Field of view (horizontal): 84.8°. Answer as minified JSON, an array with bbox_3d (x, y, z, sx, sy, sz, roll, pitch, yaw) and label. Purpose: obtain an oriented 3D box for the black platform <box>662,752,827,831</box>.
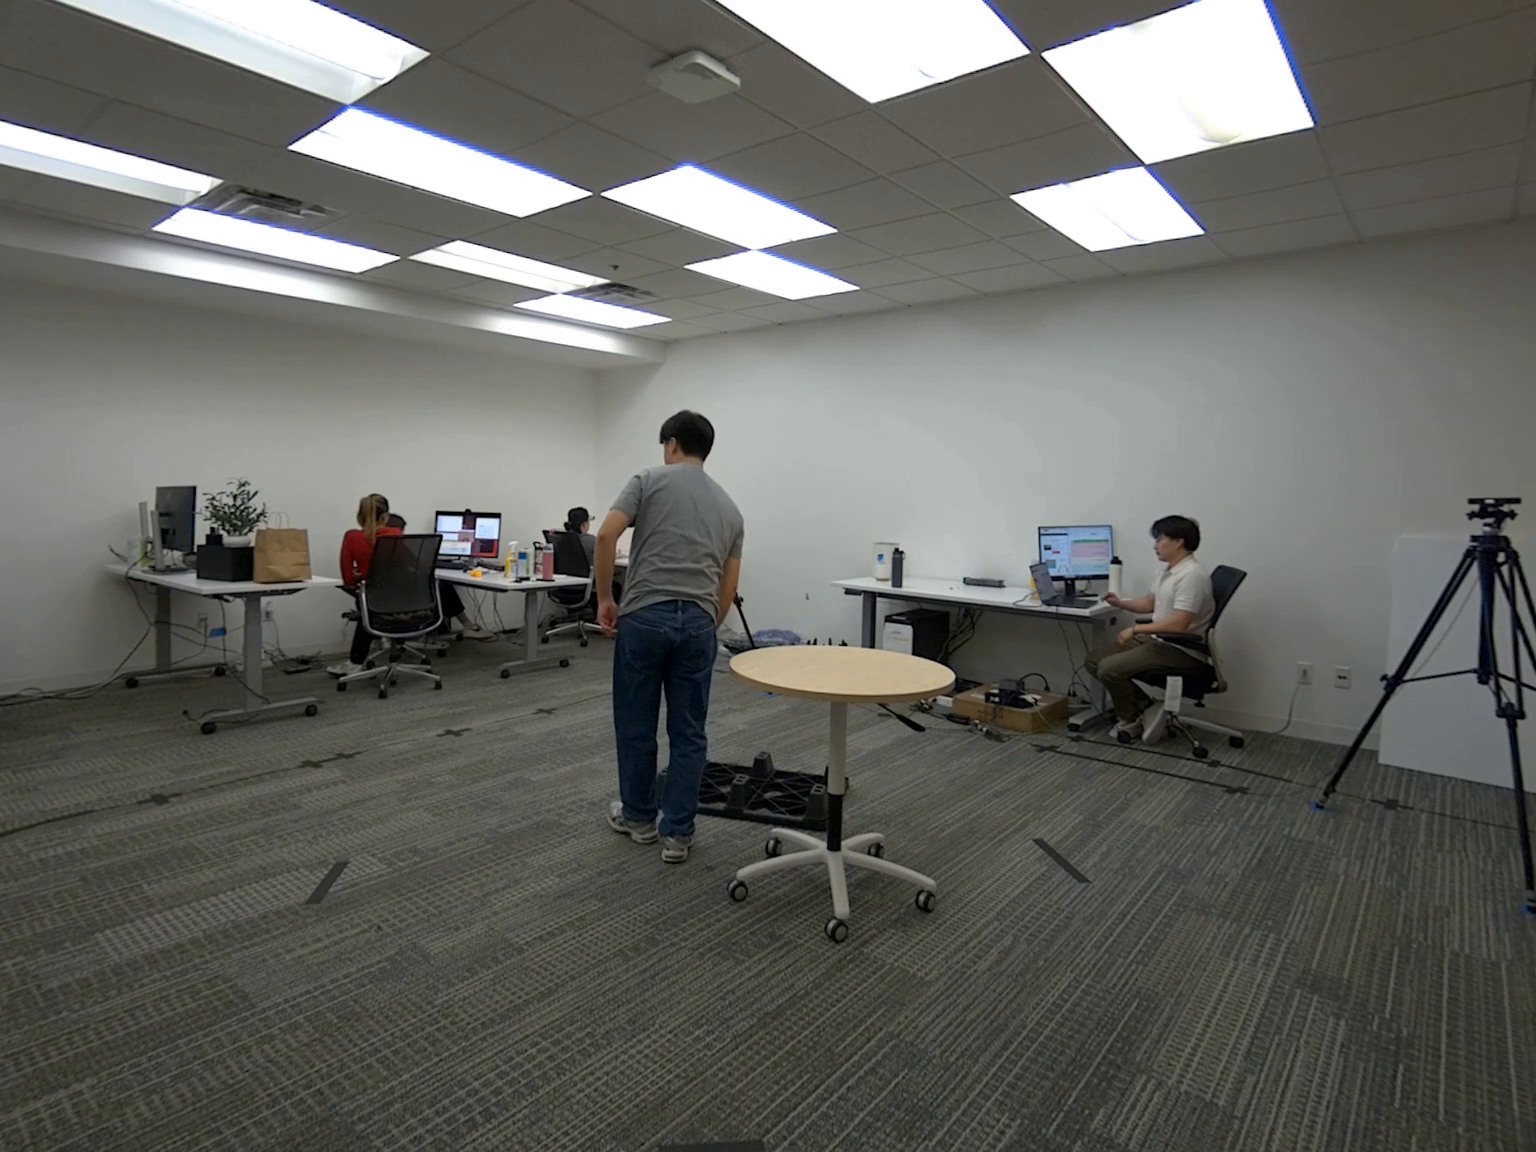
[{"bbox_3d":[-0.088,0.930,3.860,0.820,0.143,0.596,2,5,16],"label":"black platform"}]
